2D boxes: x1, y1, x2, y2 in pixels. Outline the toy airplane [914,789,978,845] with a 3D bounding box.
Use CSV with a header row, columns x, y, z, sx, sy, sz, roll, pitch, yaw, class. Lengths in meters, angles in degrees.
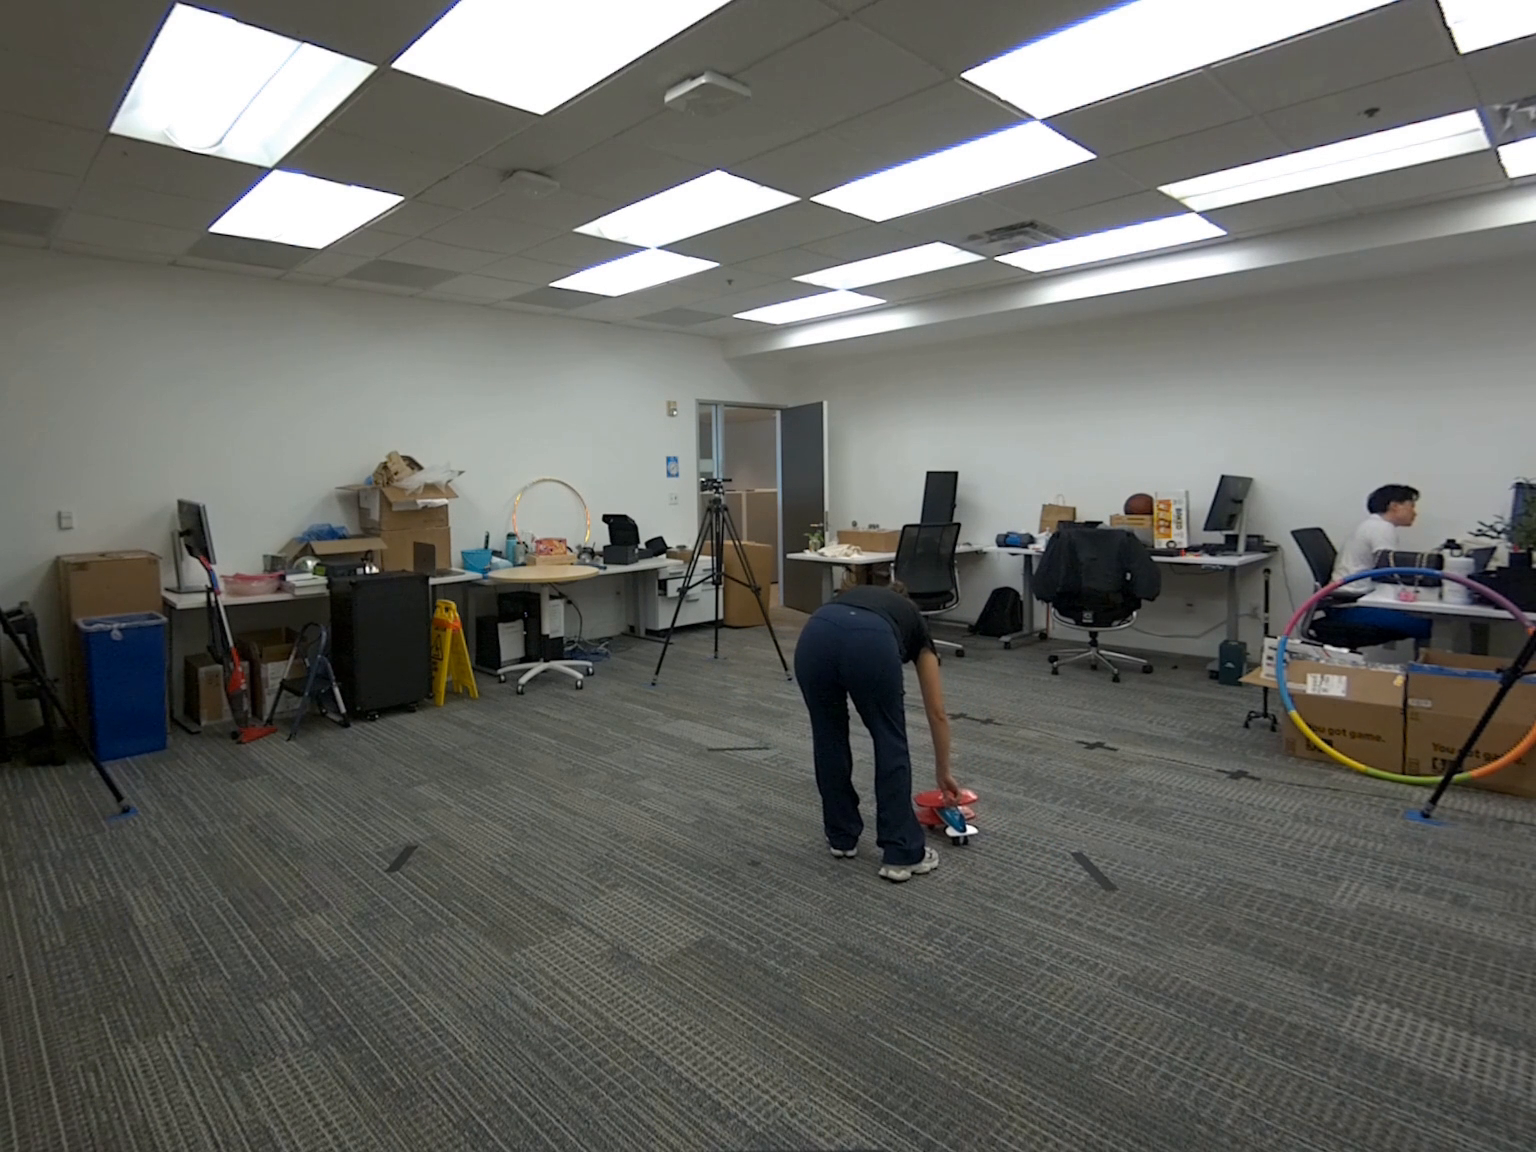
x,y,z,sx,sy,sz,roll,pitch,yaw,class
0.719,0.932,3.342,0.245,0.155,0.267,-7,8,-40,toy airplane
